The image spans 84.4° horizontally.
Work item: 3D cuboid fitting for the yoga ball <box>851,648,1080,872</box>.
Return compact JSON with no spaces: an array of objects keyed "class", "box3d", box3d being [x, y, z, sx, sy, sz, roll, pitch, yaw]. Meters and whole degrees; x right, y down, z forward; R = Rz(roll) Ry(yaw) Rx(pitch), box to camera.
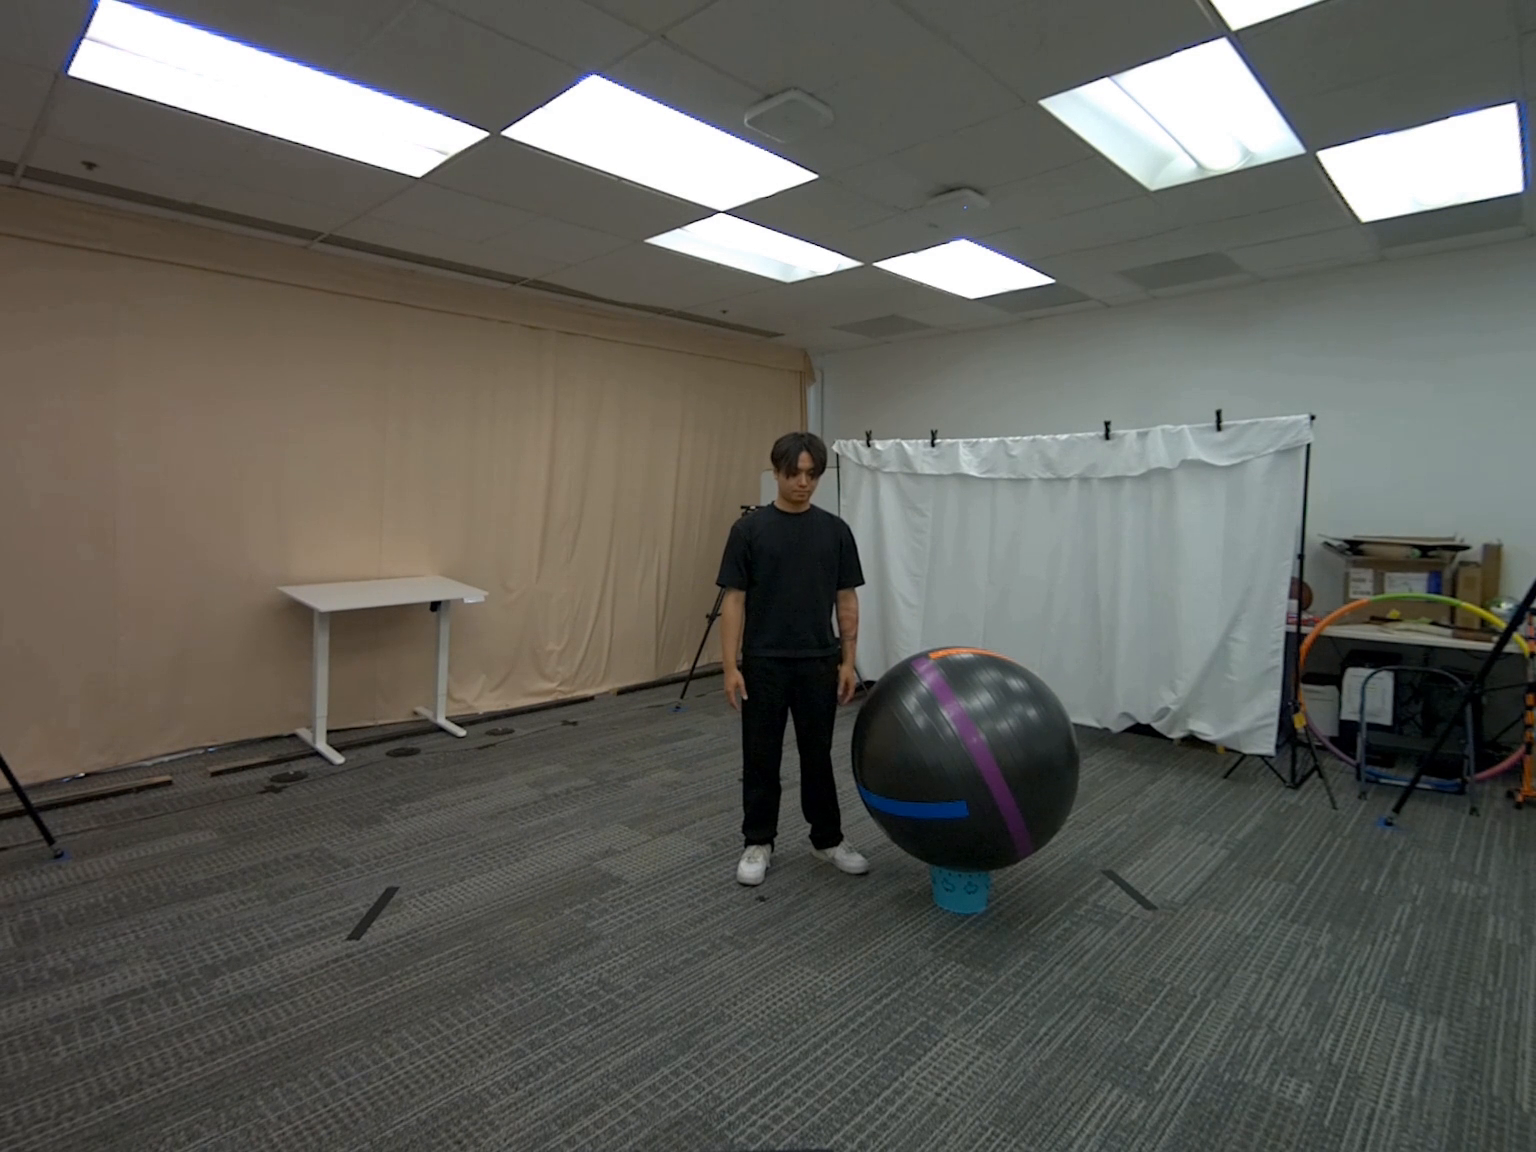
[{"class":"yoga ball","box3d":[0.691,0.641,2.936,0.757,0.756,0.760,0,4,-2]}]
